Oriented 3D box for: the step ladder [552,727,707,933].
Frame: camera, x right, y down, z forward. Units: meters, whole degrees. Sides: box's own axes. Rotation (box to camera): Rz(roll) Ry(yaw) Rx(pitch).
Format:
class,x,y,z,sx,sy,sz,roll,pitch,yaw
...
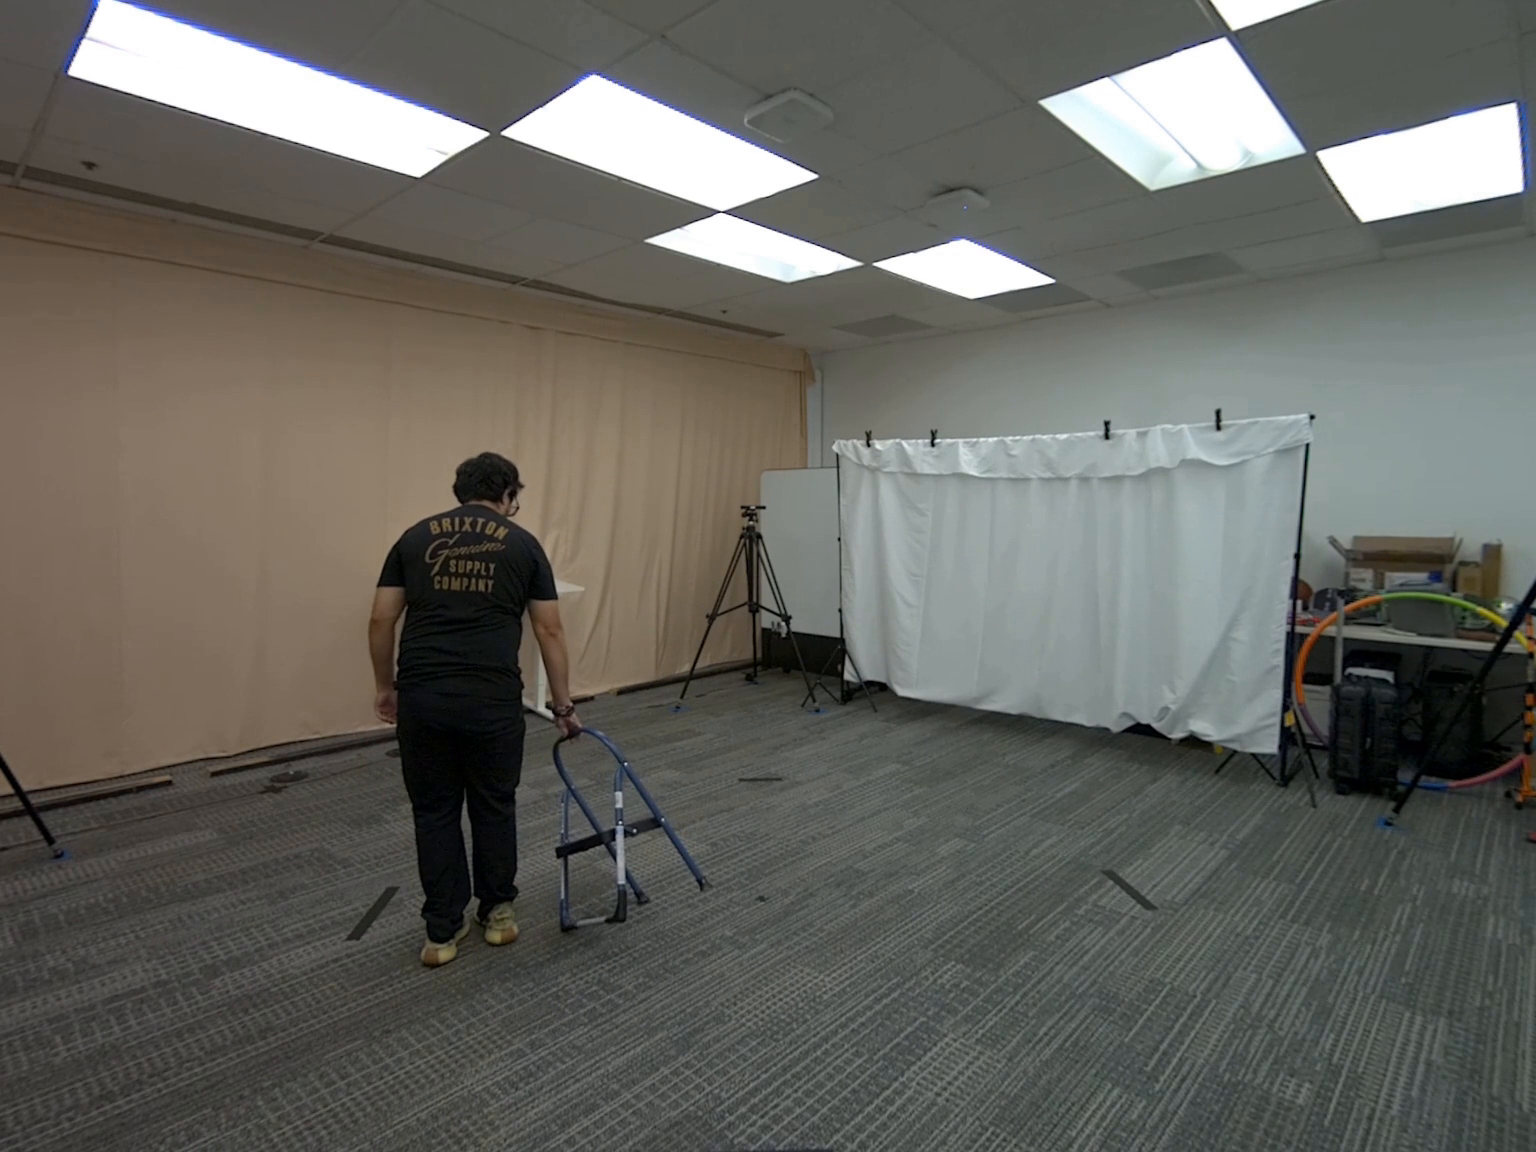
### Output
class,x,y,z,sx,sy,sz,roll,pitch,yaw
step ladder,-0.522,0.807,2.800,0.338,0.615,0.437,-3,-22,-42
